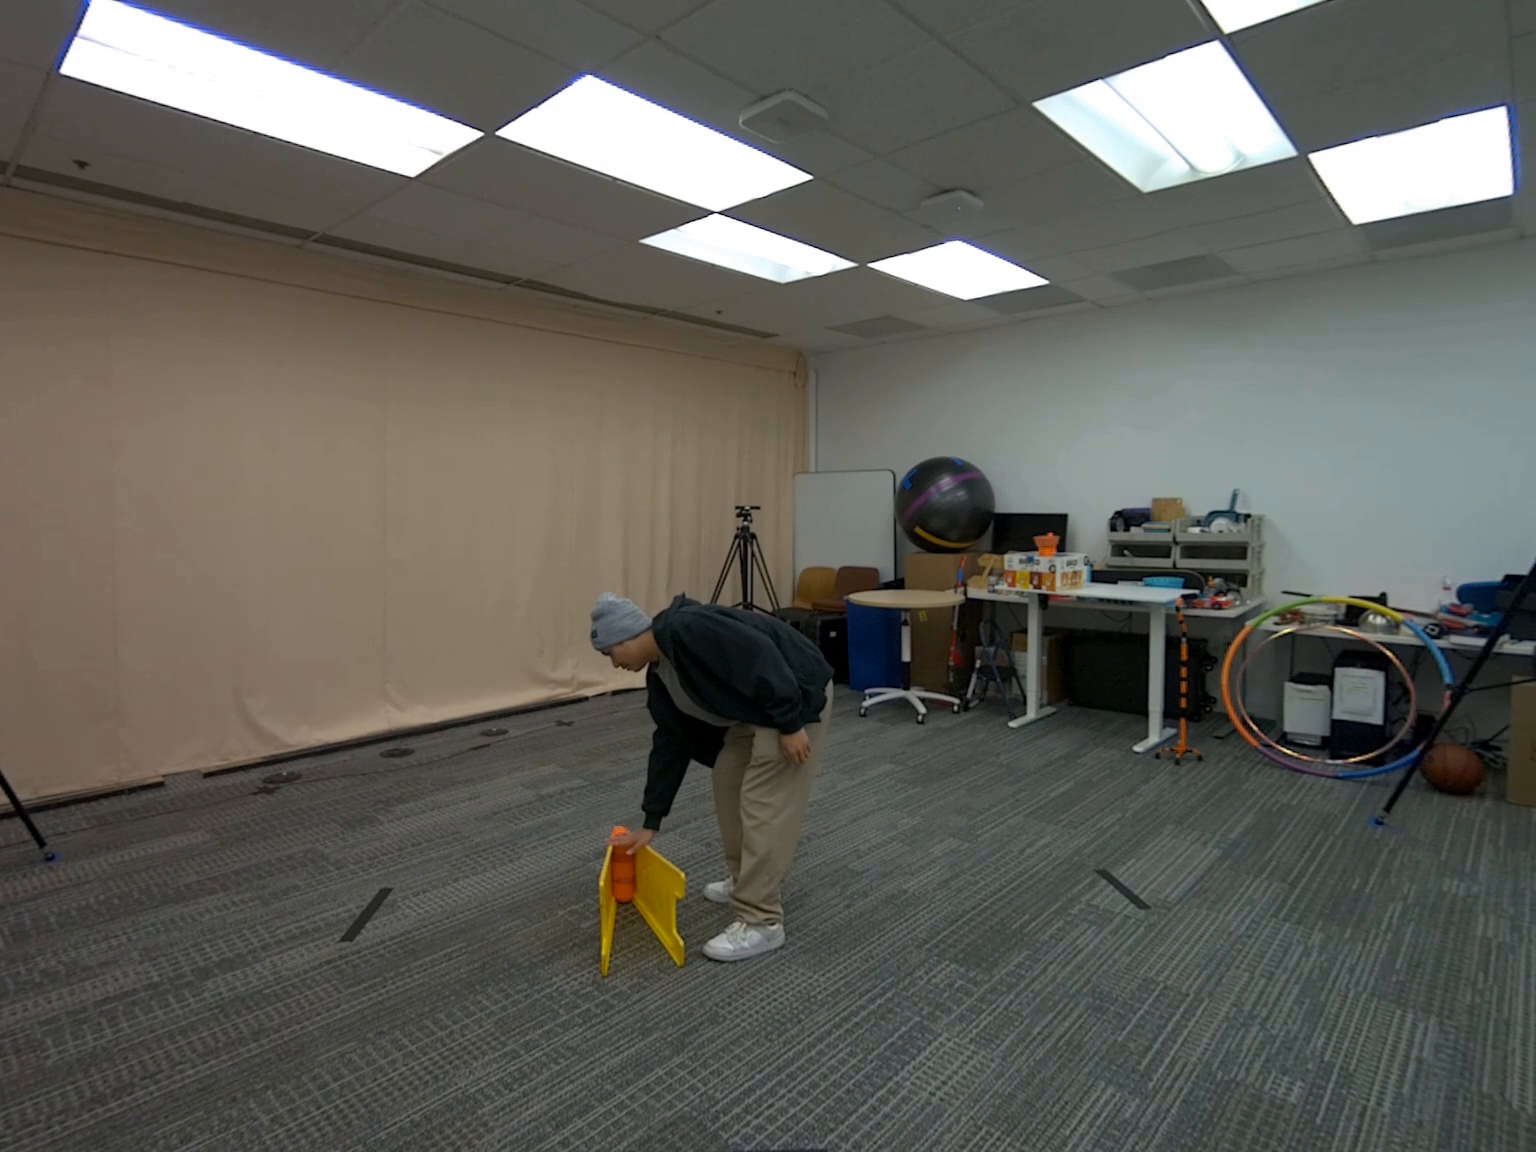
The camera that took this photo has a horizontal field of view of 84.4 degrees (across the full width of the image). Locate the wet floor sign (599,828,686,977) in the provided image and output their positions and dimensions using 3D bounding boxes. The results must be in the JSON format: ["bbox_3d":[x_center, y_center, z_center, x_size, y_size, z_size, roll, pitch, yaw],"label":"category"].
[{"bbox_3d":[-0.474,1.038,2.822,0.285,0.282,0.656,0,1,-16],"label":"wet floor sign"}]
